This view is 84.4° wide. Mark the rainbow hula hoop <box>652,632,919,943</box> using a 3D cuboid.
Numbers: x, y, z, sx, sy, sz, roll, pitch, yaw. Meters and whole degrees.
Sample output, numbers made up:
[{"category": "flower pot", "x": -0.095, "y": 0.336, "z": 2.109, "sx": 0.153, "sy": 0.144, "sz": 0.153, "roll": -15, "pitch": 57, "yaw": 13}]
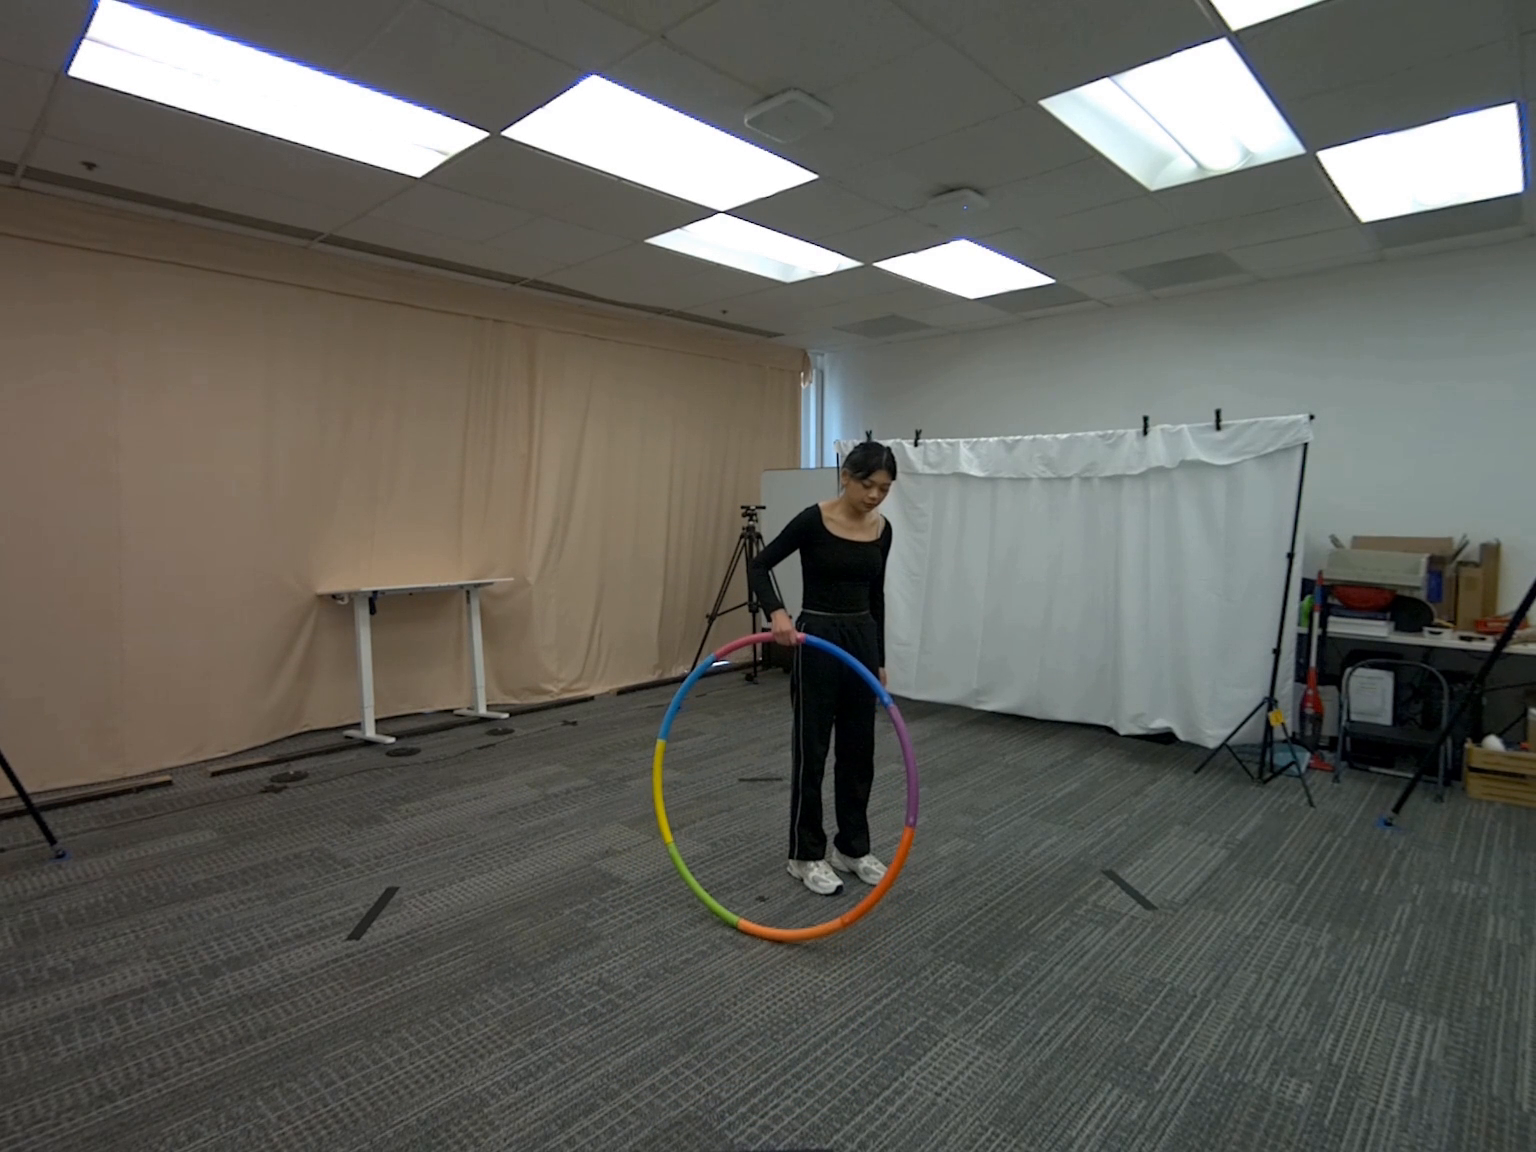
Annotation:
[{"category": "rainbow hula hoop", "x": 0.025, "y": 0.674, "z": 2.816, "sx": 1.007, "sy": 0.983, "sz": 0.034, "roll": 2, "pitch": -12, "yaw": 30}]
